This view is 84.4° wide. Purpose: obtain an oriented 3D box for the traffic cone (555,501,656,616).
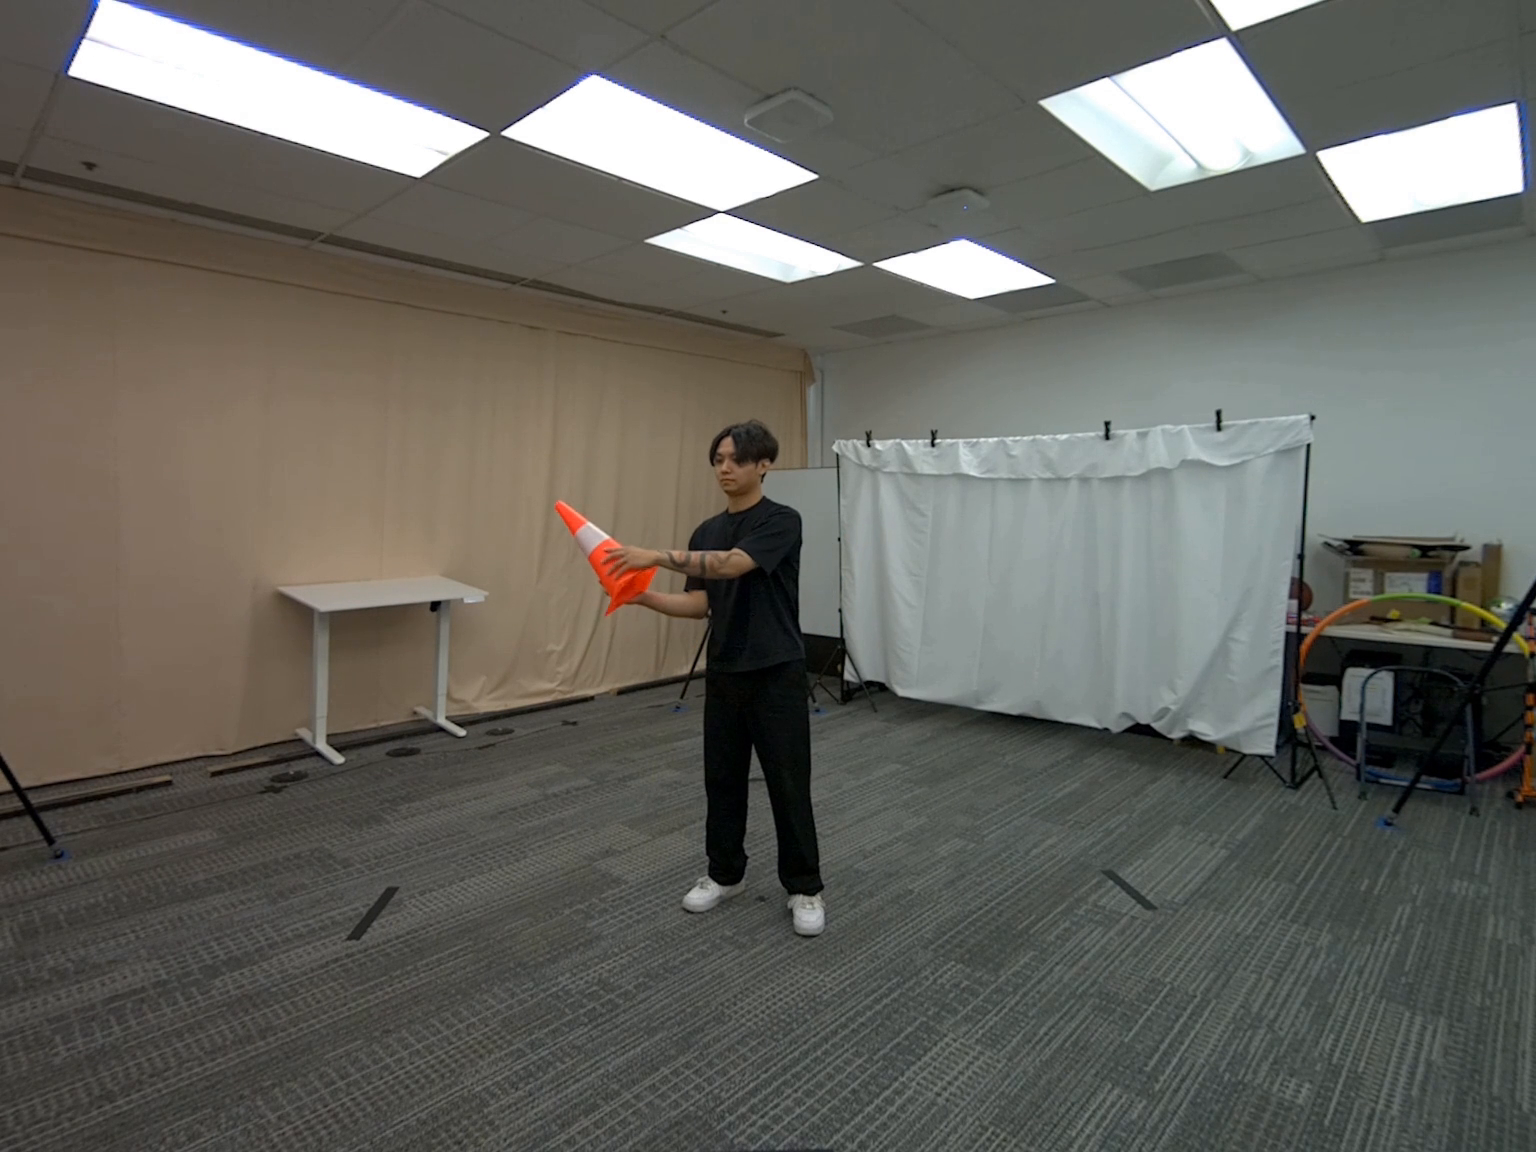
[{"bbox_3d":[-0.553,-0.093,2.711,0.201,0.389,0.204,-32,-16,-47],"label":"traffic cone"}]
